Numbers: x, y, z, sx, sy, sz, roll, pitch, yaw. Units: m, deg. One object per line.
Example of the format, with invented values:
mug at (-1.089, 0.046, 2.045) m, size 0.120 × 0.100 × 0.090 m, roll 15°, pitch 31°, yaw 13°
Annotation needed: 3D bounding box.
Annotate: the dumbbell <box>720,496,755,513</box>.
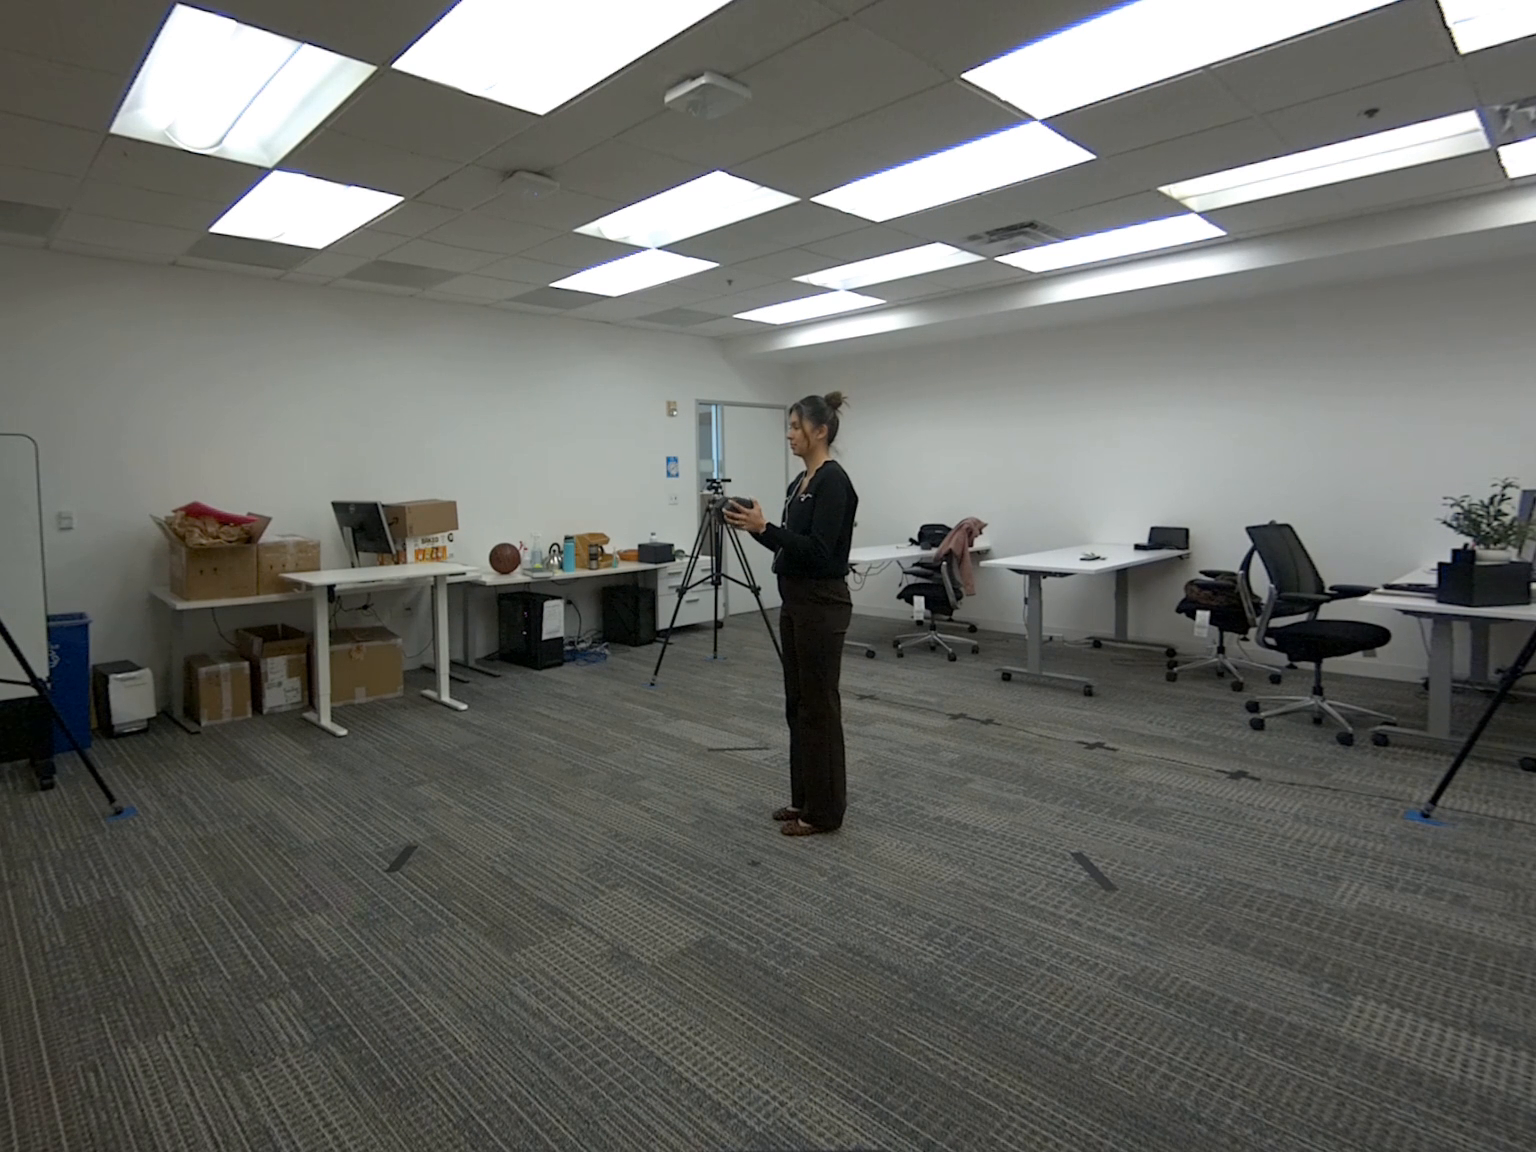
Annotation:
dumbbell at (-0.102, -0.251, 3.352) m, size 0.122 × 0.108 × 0.296 m, roll 10°, pitch 4°, yaw -6°
